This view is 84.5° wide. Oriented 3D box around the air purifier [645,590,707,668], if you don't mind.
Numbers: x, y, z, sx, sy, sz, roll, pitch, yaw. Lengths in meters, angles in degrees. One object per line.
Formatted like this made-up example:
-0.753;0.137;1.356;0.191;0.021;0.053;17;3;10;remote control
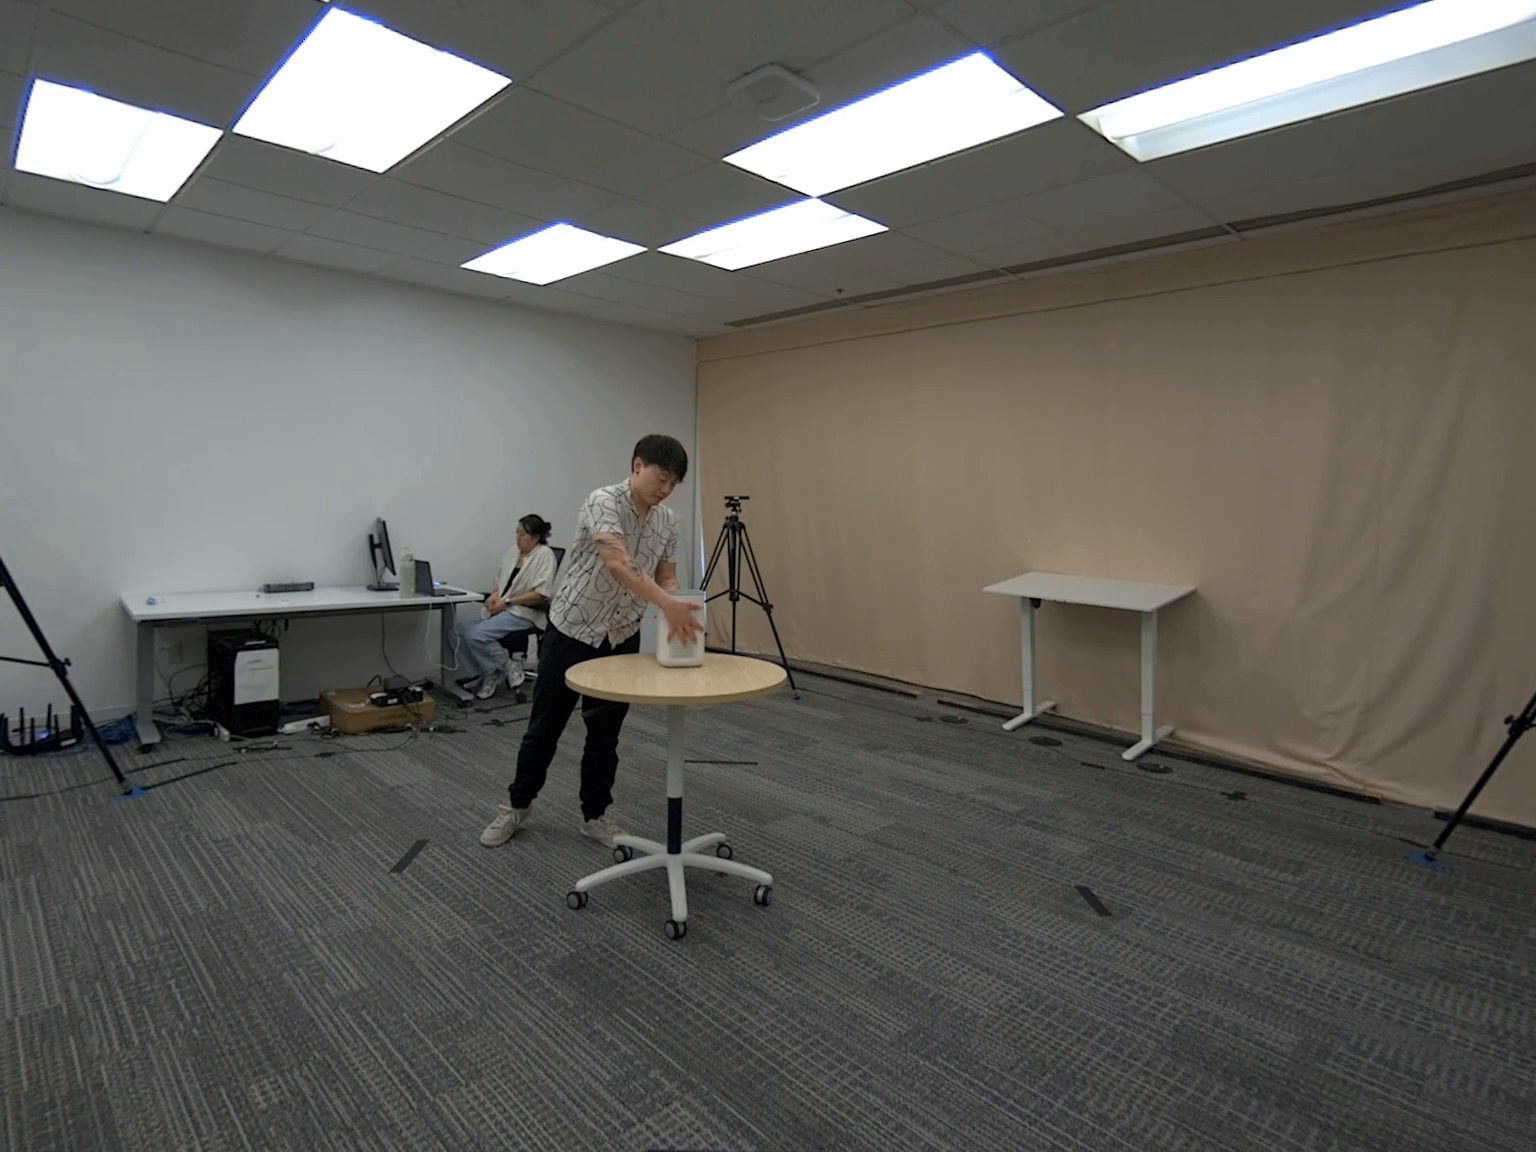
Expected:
-0.324;0.188;3.069;0.170;0.265;0.172;0;1;-9;air purifier
